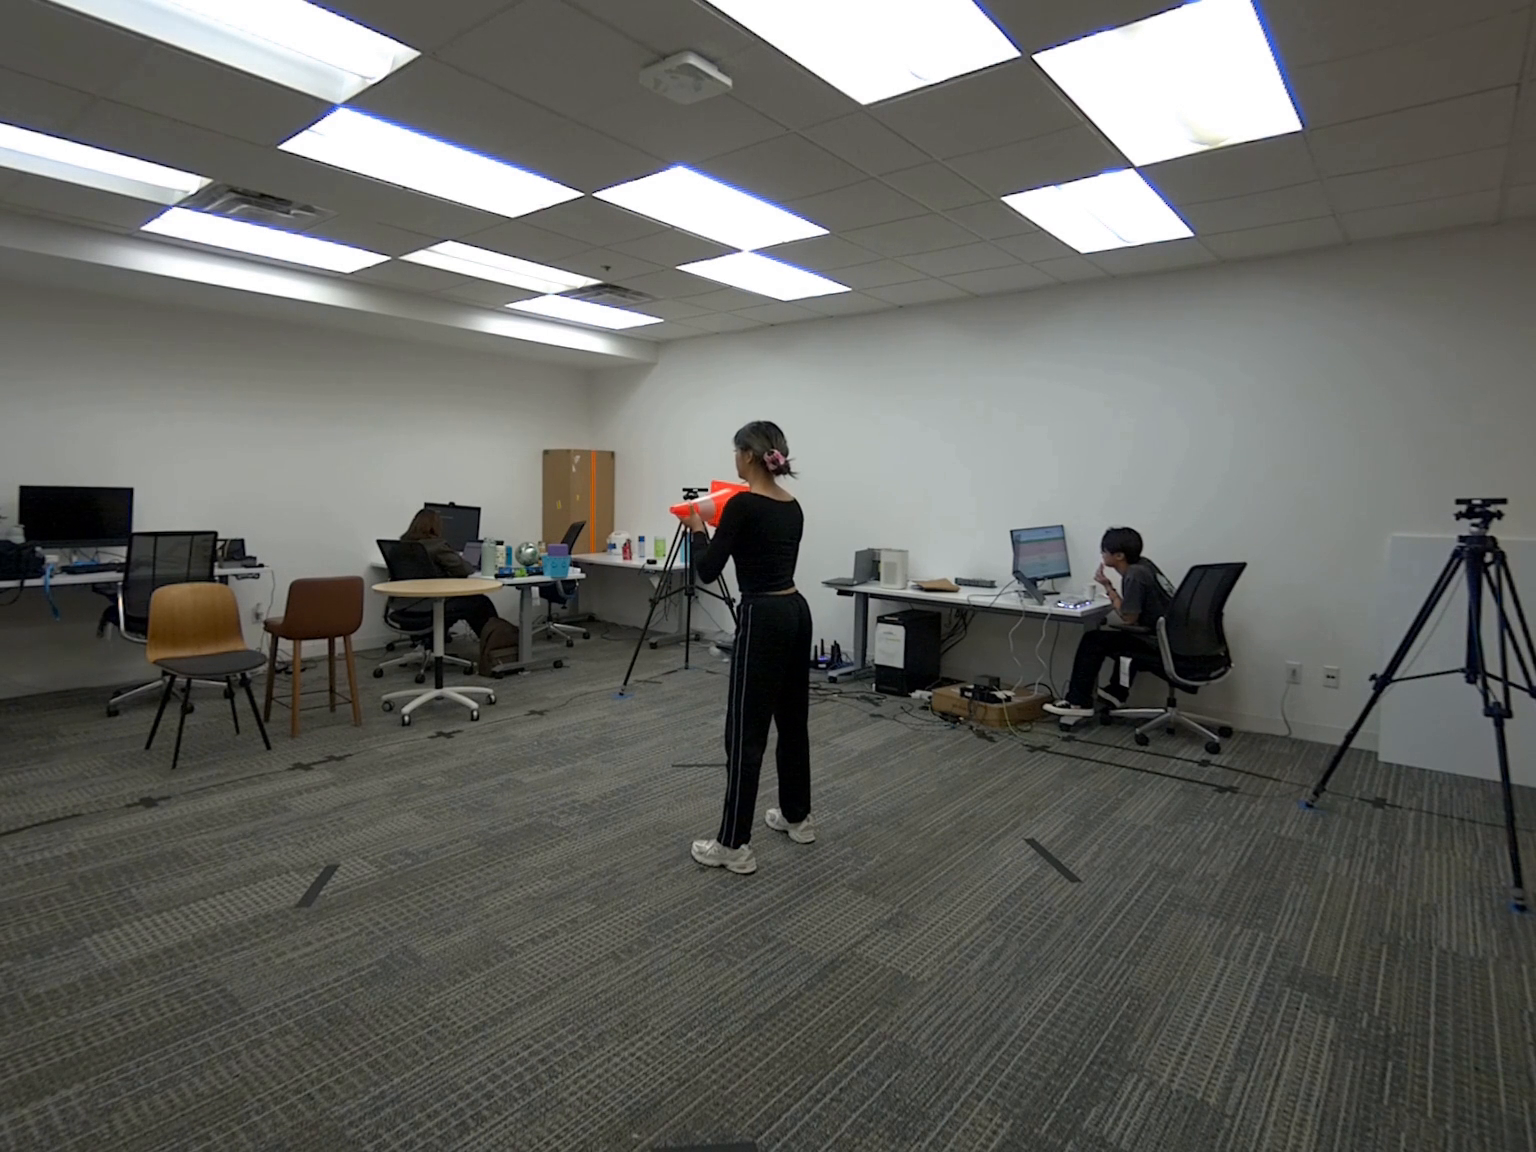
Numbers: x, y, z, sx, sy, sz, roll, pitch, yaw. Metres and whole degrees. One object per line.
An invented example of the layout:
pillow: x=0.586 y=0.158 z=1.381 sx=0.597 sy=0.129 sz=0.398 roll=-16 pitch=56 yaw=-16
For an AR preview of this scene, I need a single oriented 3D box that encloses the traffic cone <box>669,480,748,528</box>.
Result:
traffic cone: x=-0.276 y=-0.276 z=3.434 sx=0.210 sy=0.203 sz=0.374 roll=14 pitch=12 yaw=31
